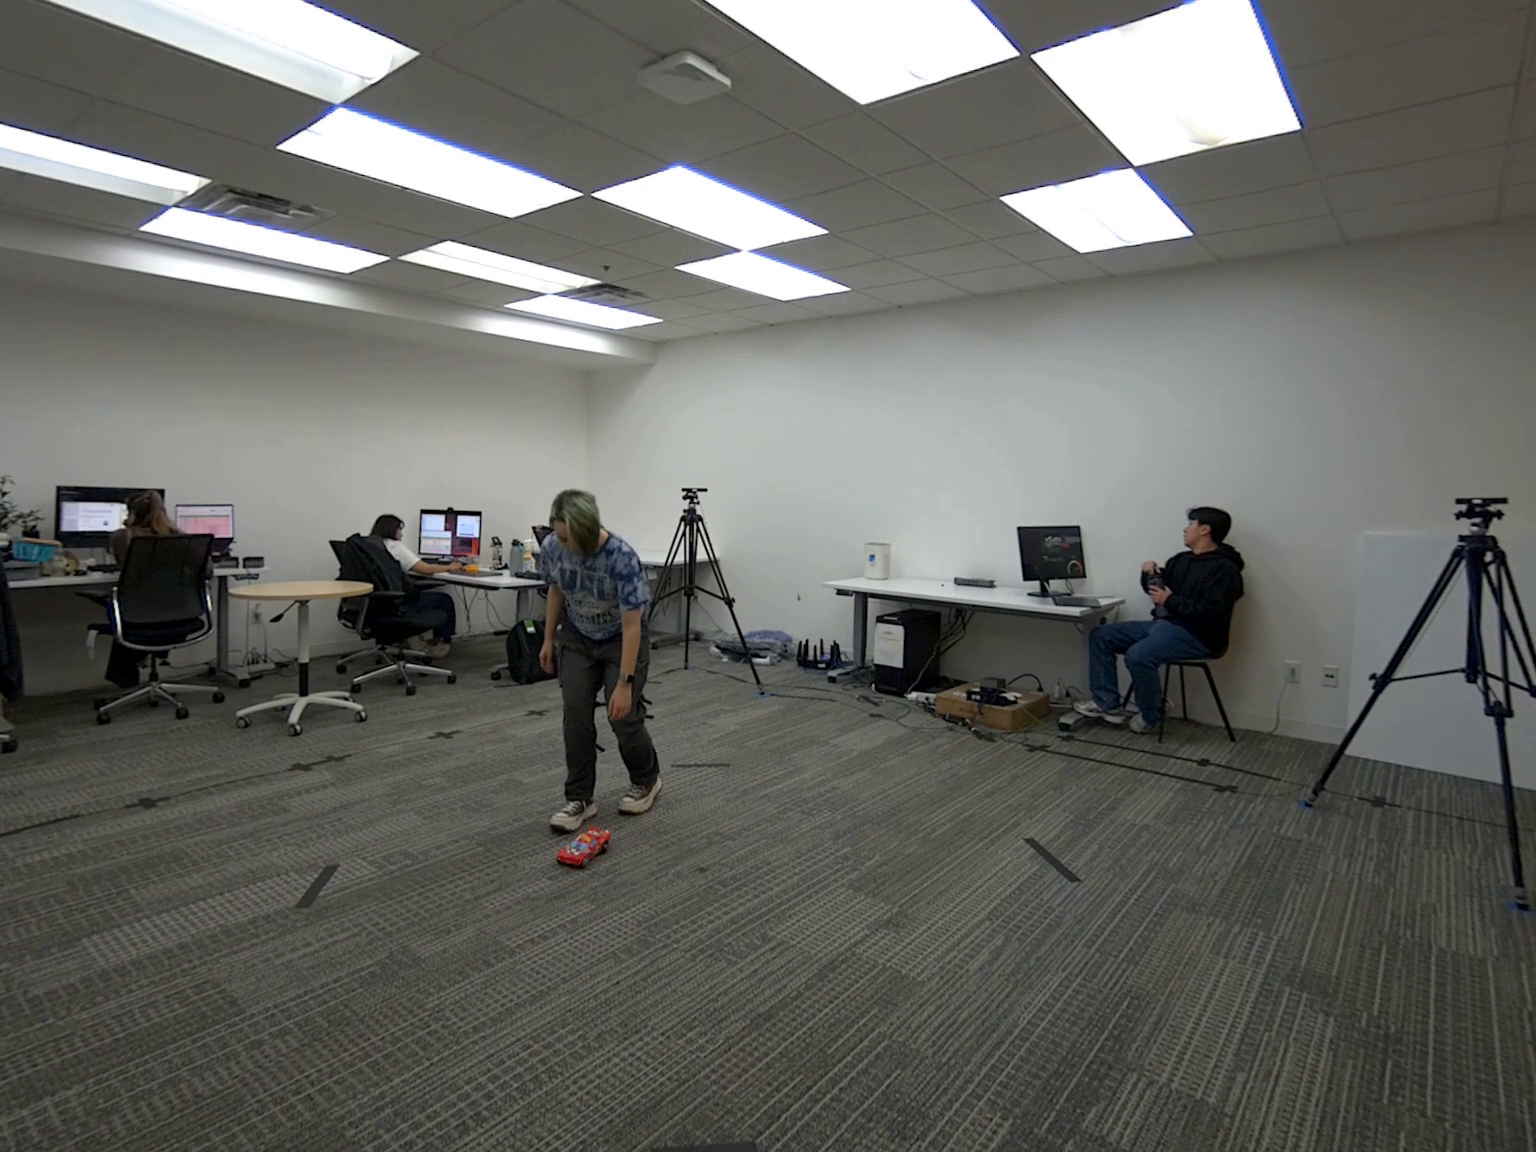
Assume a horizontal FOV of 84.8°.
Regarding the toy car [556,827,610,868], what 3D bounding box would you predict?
[{"bbox_3d":[-0.696,1.015,3.213,0.133,0.082,0.253,0,16,20],"label":"toy car"}]
